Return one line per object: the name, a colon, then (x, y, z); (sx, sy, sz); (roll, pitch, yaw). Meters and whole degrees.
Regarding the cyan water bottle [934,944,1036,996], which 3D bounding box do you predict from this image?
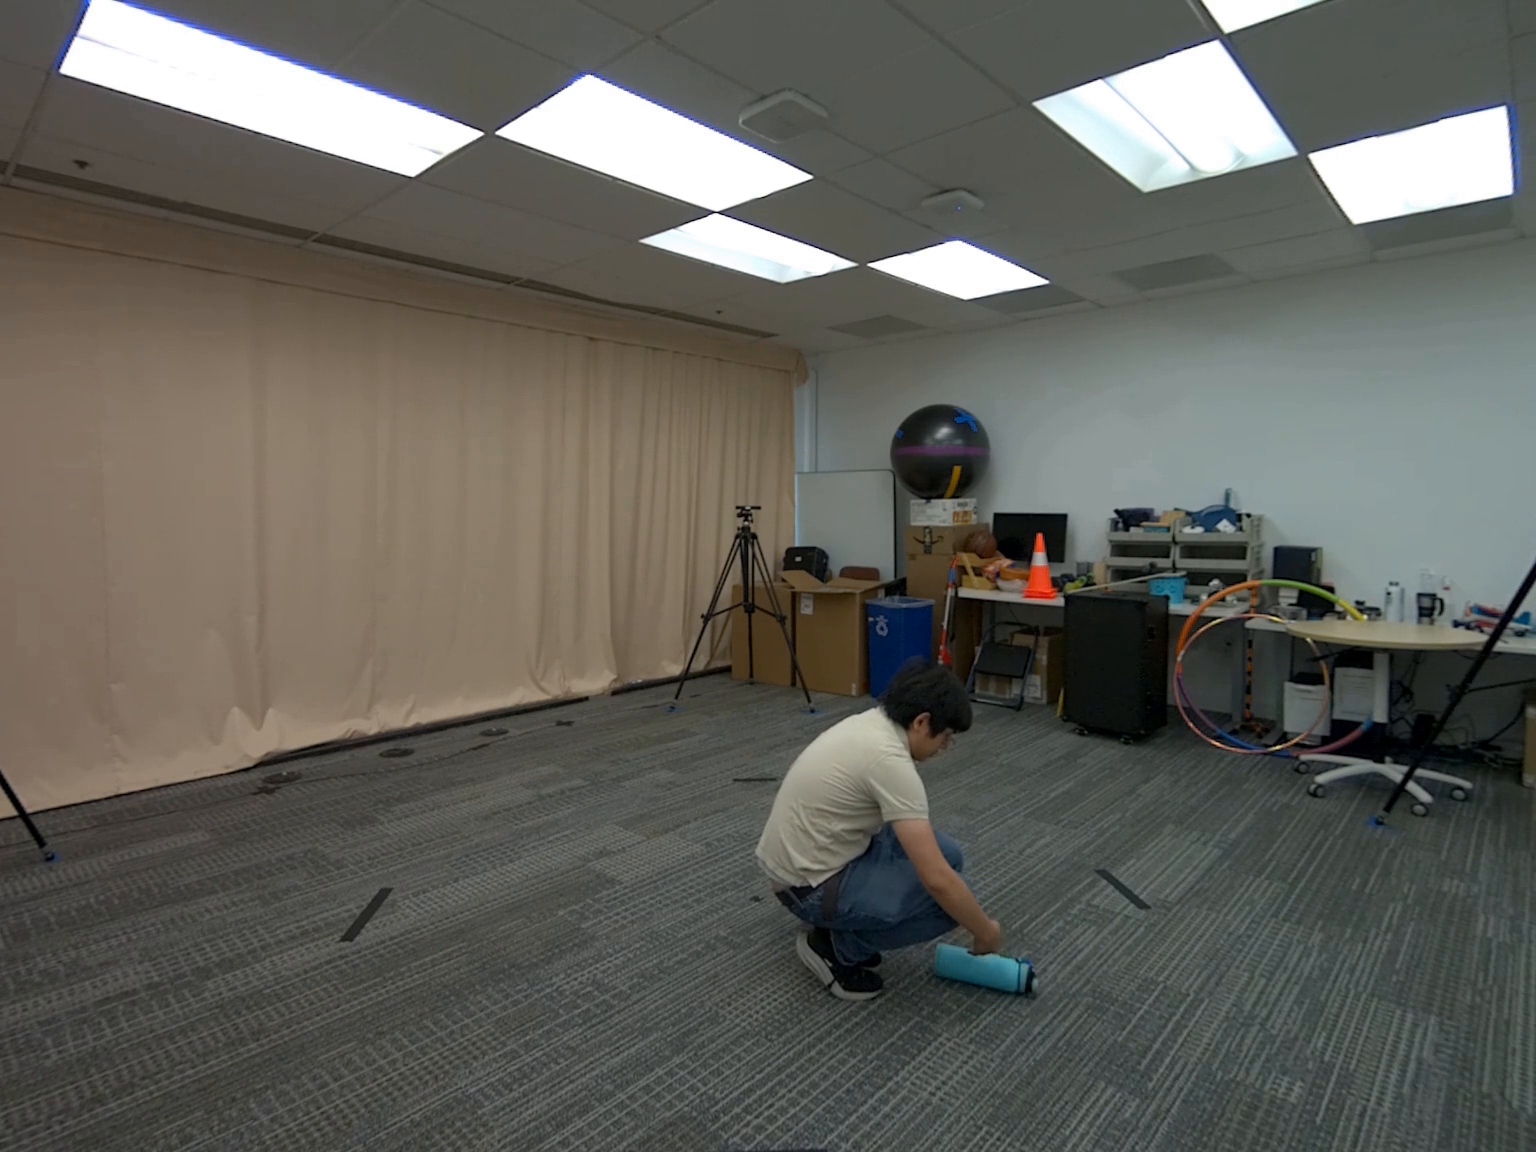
cyan water bottle: (0.643, 1.145, 2.435); (0.290, 0.092, 0.090); (4, 5, 24)
